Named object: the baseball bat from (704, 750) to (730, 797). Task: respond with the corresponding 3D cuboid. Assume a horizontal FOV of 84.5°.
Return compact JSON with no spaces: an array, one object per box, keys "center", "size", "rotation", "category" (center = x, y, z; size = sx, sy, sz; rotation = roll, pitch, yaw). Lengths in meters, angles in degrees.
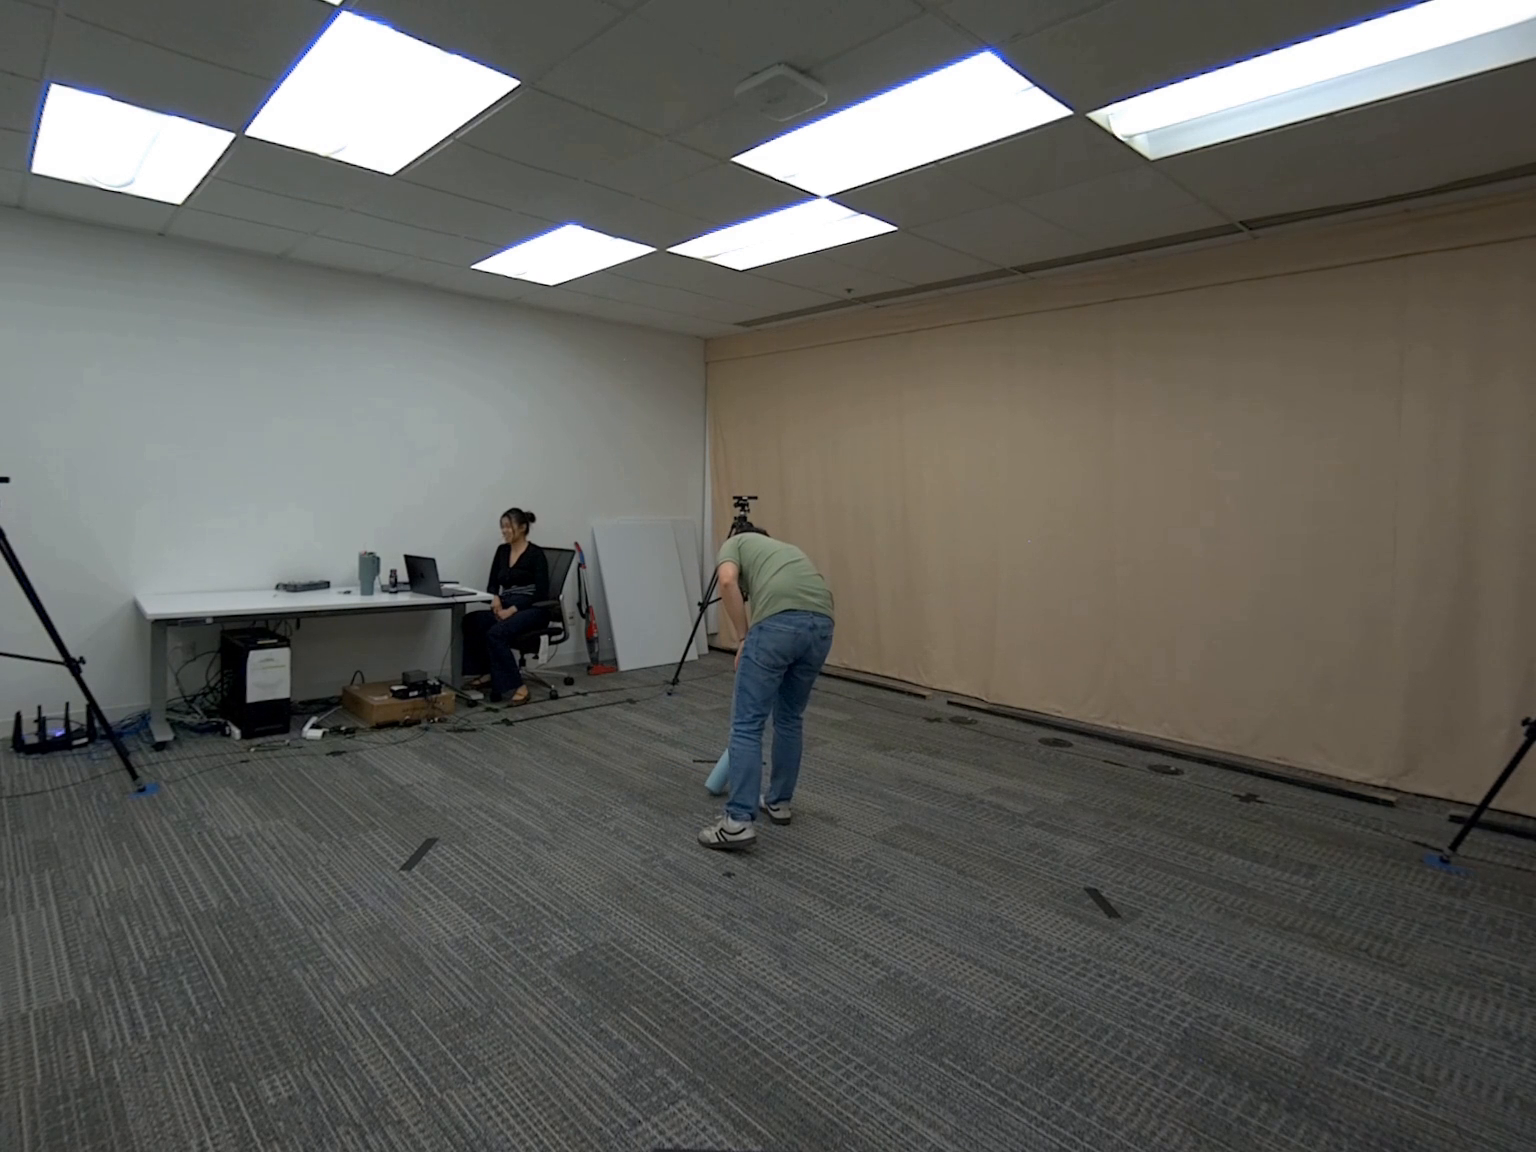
[{"center":[-0.136,0.797,4.014],"size":[0.090,0.545,0.088],"rotation":[29,-19,9],"category":"baseball bat"}]
